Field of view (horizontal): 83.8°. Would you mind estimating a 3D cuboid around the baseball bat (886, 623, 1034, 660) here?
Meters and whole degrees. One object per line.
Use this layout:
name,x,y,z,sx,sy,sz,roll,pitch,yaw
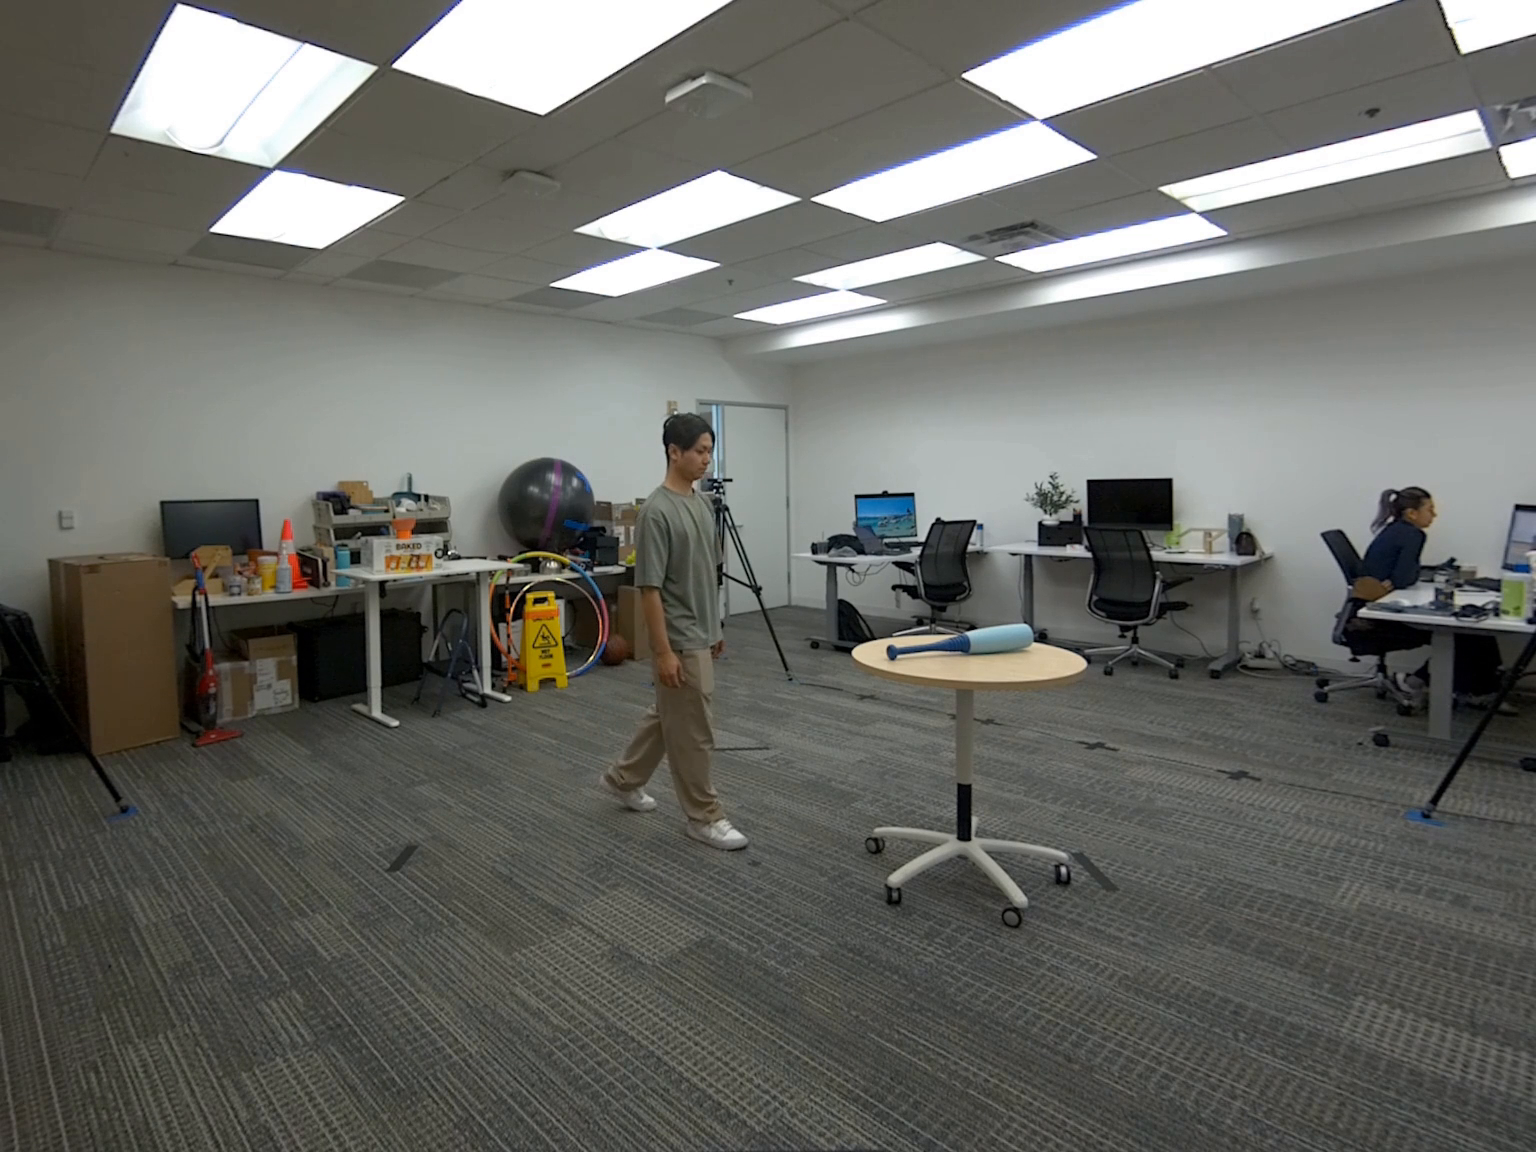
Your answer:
baseball bat,0.663,0.234,2.922,0.535,0.088,0.091,-5,6,-16
